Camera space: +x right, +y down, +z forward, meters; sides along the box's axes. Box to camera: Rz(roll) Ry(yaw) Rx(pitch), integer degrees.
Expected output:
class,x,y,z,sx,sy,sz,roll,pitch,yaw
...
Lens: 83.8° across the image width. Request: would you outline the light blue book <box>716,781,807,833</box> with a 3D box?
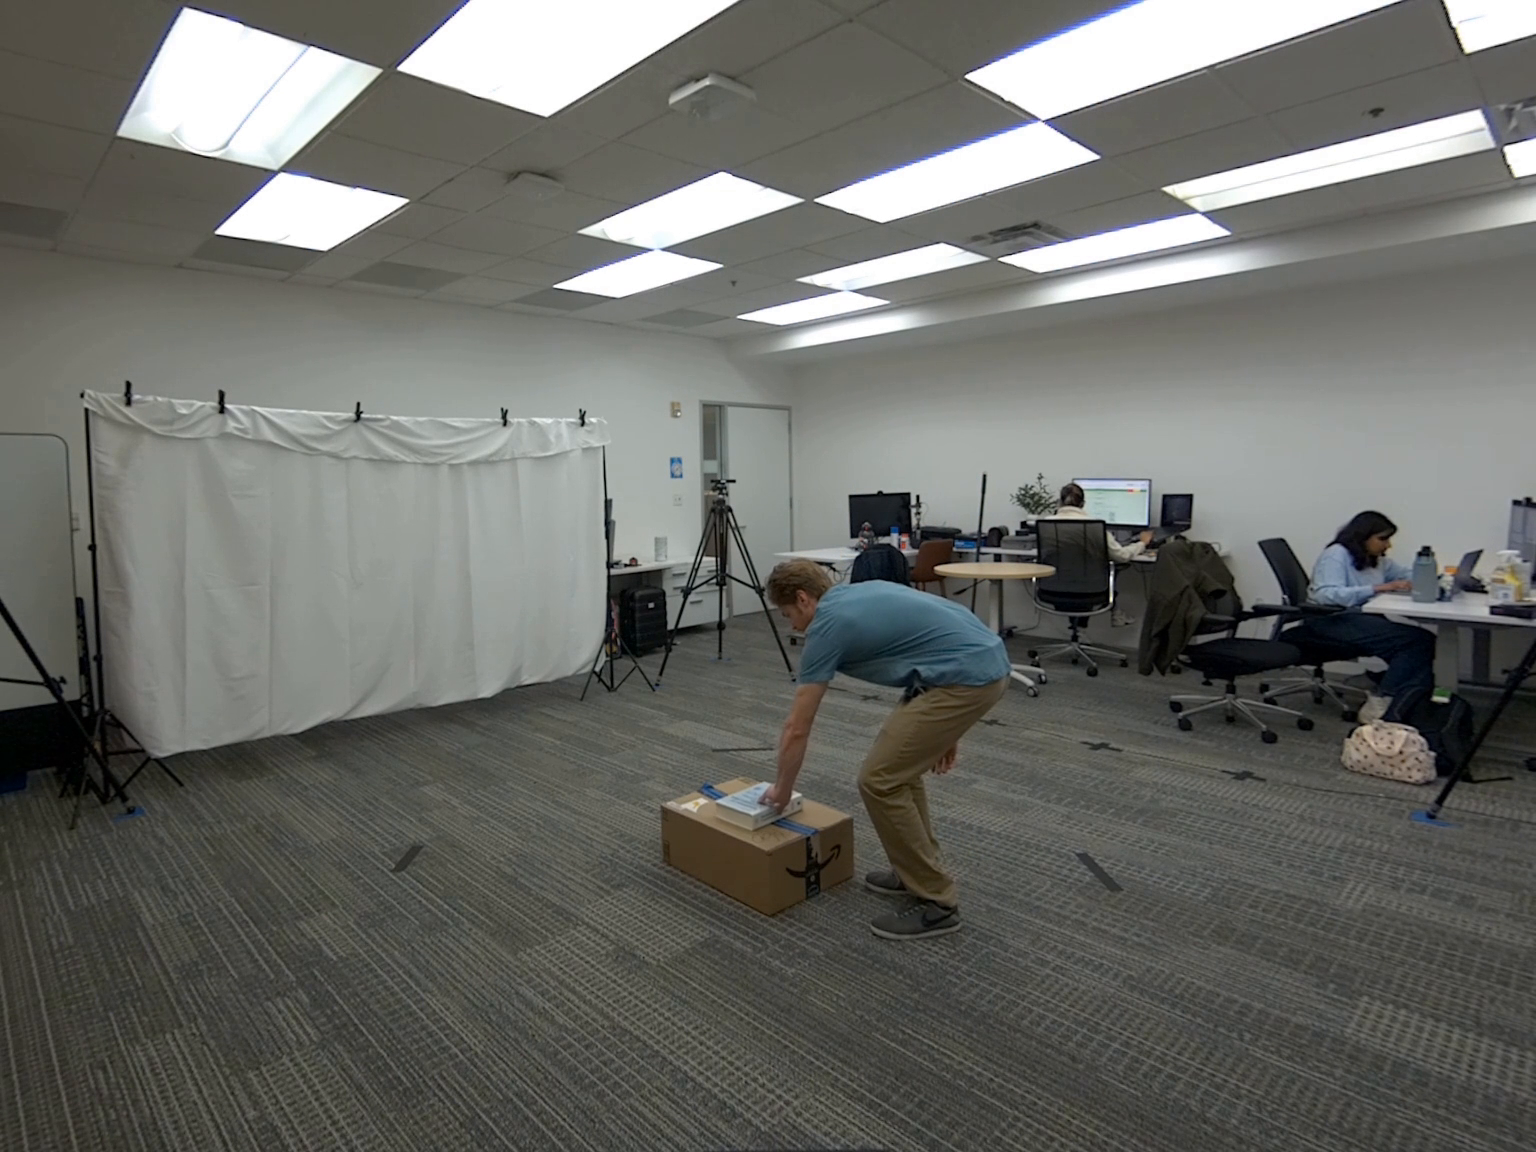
class,x,y,z,sx,sy,sz,roll,pitch,yaw
light blue book,-0.024,0.813,3.044,0.197,0.059,0.254,4,9,44
